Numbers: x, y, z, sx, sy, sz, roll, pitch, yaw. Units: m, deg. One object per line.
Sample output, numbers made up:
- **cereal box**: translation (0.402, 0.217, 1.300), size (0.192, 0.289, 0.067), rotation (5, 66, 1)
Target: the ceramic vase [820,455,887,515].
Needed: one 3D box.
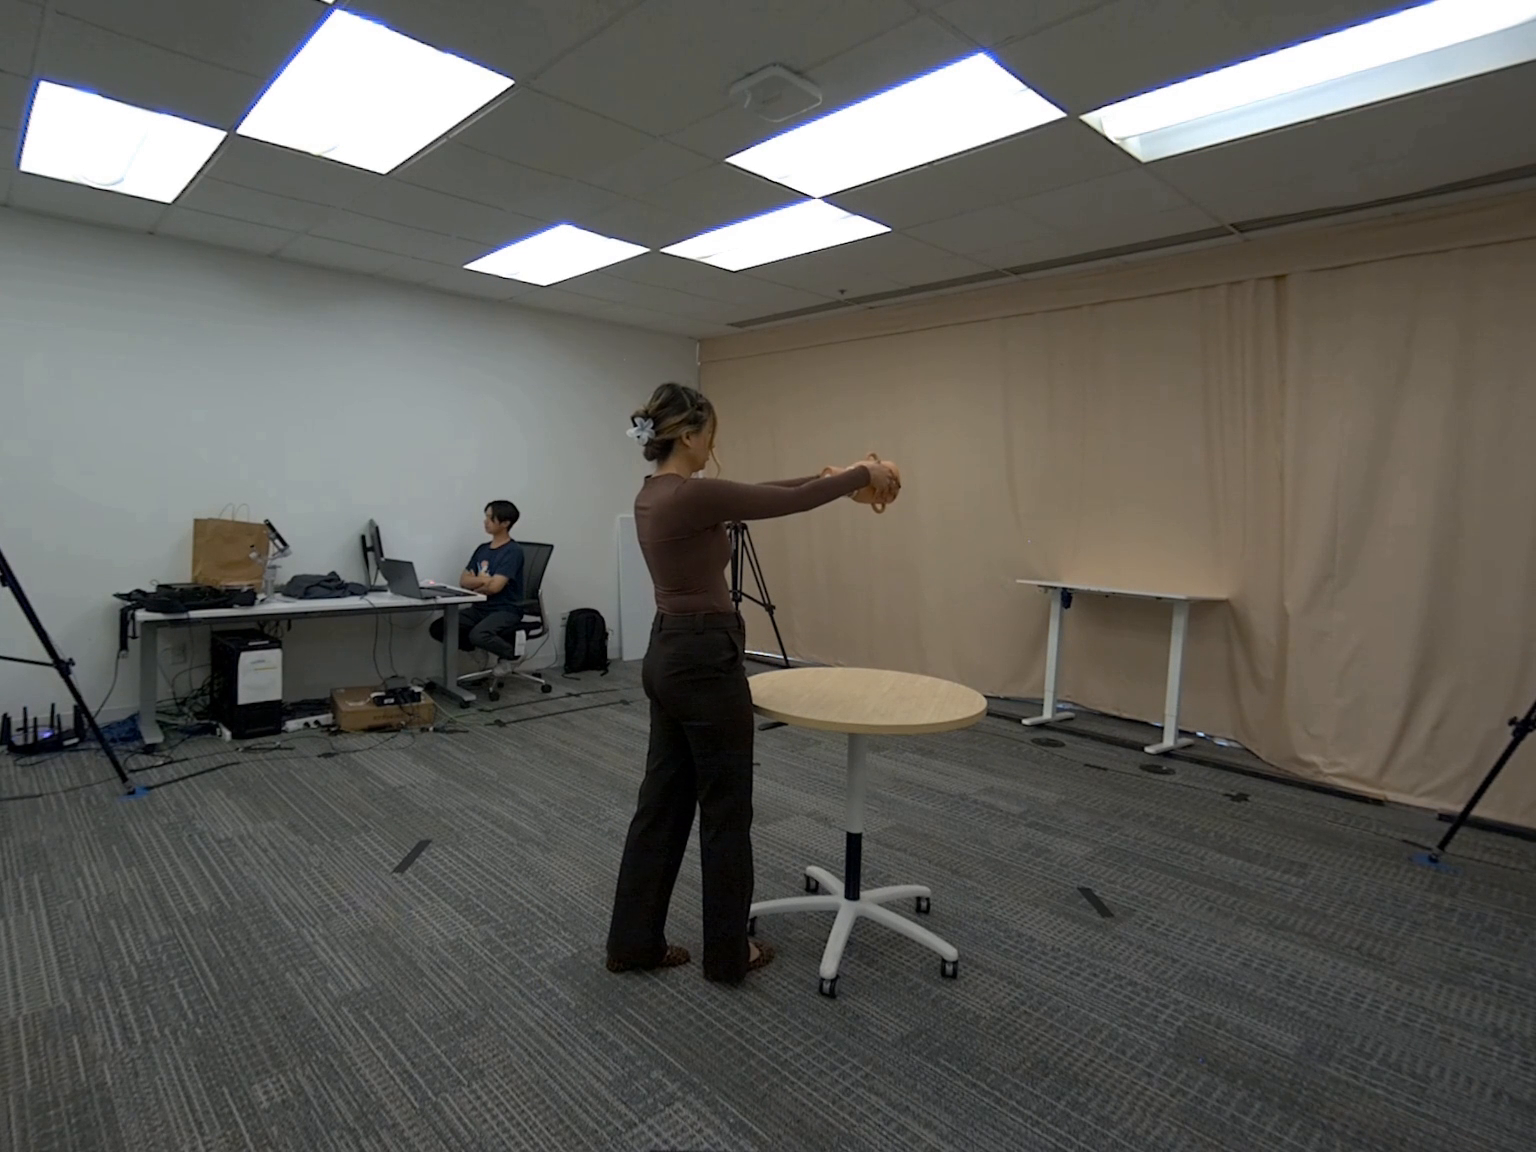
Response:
- **ceramic vase**: translation (0.274, -0.288, 2.608), size (0.216, 0.132, 0.164), rotation (-3, 38, -21)
